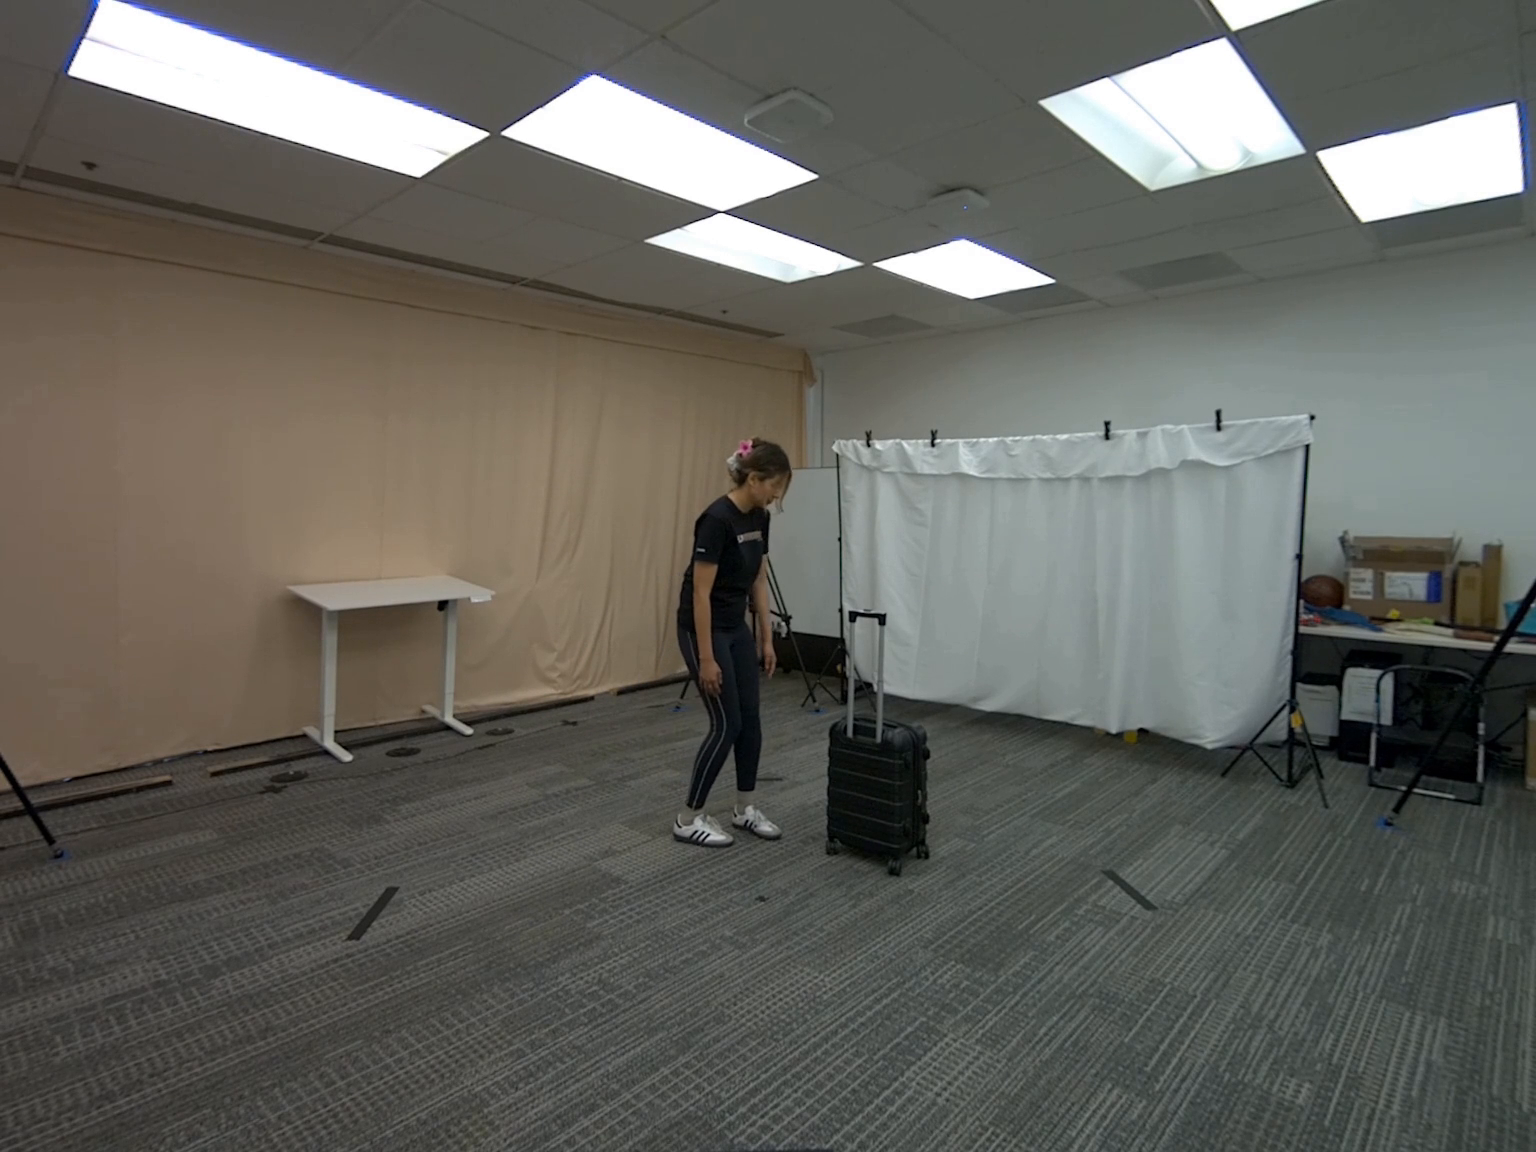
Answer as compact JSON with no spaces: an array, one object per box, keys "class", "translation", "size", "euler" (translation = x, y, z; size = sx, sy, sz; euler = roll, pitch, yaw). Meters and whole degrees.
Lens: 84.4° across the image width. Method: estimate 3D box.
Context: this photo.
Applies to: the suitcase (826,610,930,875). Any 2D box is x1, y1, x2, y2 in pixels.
[{"class":"suitcase","translation":[0.442,0.636,3.363],"size":[0.396,0.979,0.249],"euler":[1,-1,39]}]
